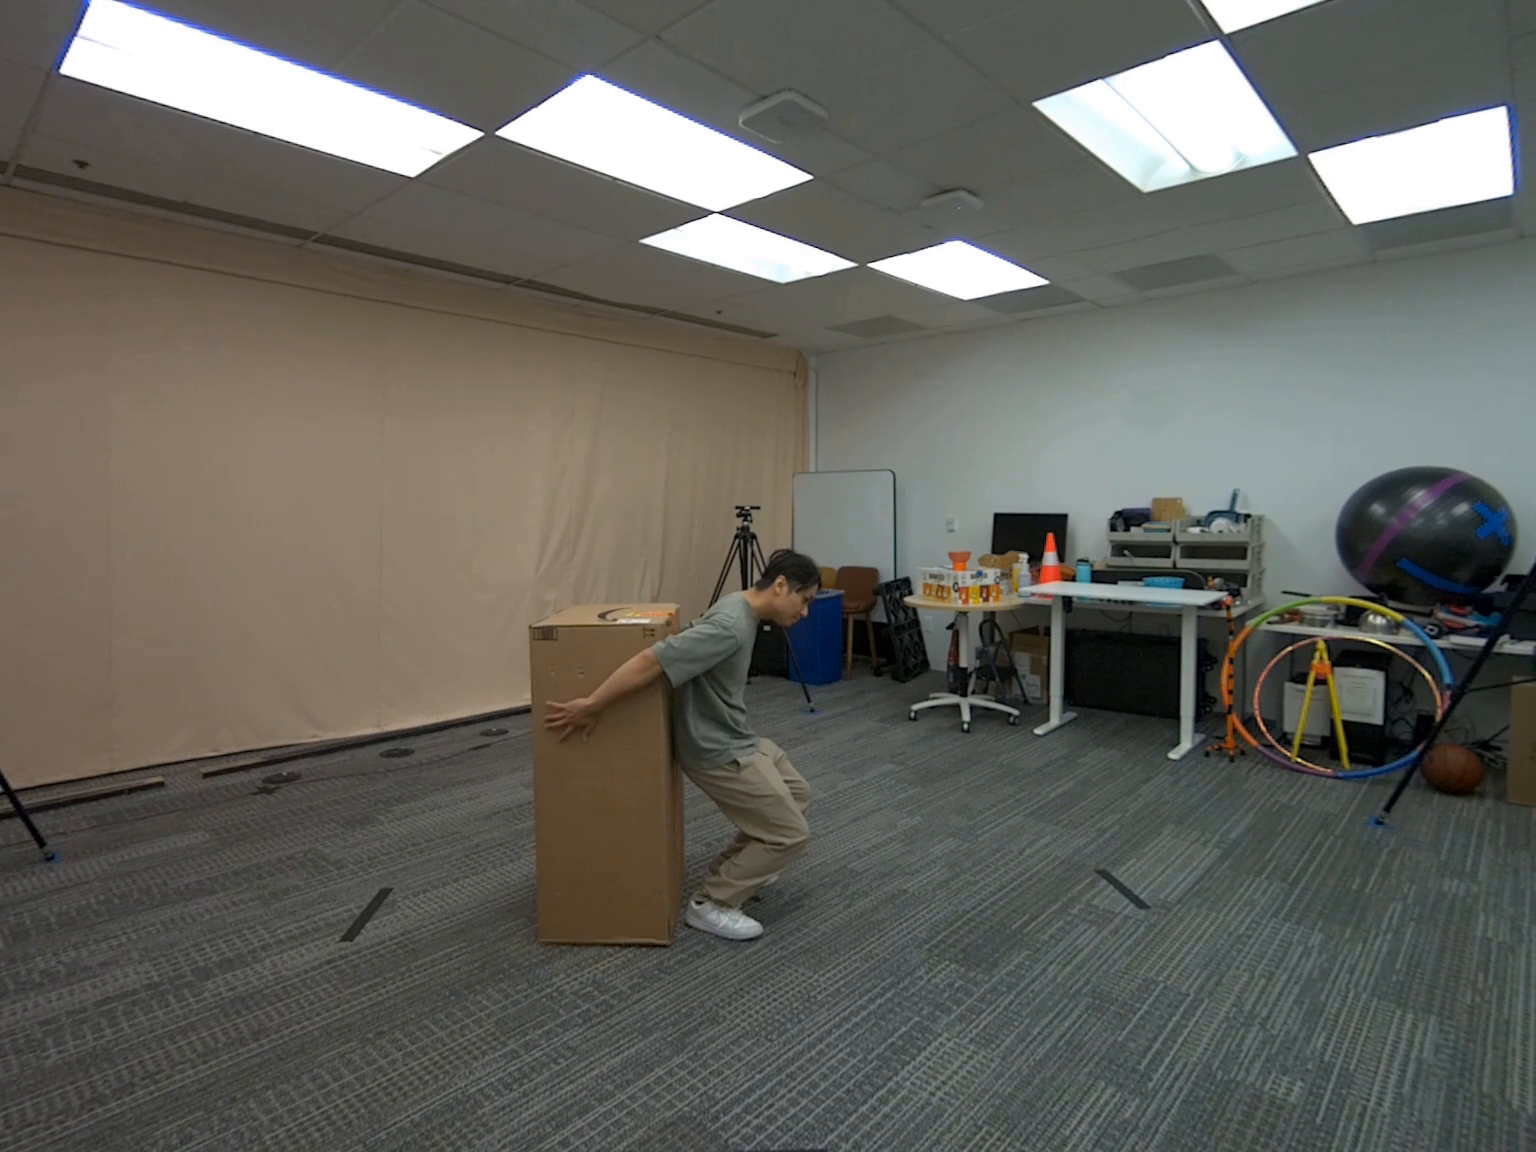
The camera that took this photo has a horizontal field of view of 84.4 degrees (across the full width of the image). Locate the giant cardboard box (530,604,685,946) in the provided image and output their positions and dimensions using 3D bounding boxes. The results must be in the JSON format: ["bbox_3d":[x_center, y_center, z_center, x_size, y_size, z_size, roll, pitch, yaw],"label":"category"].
[{"bbox_3d":[-0.540,0.643,2.932,0.427,1.024,0.577,-2,2,1],"label":"giant cardboard box"}]
